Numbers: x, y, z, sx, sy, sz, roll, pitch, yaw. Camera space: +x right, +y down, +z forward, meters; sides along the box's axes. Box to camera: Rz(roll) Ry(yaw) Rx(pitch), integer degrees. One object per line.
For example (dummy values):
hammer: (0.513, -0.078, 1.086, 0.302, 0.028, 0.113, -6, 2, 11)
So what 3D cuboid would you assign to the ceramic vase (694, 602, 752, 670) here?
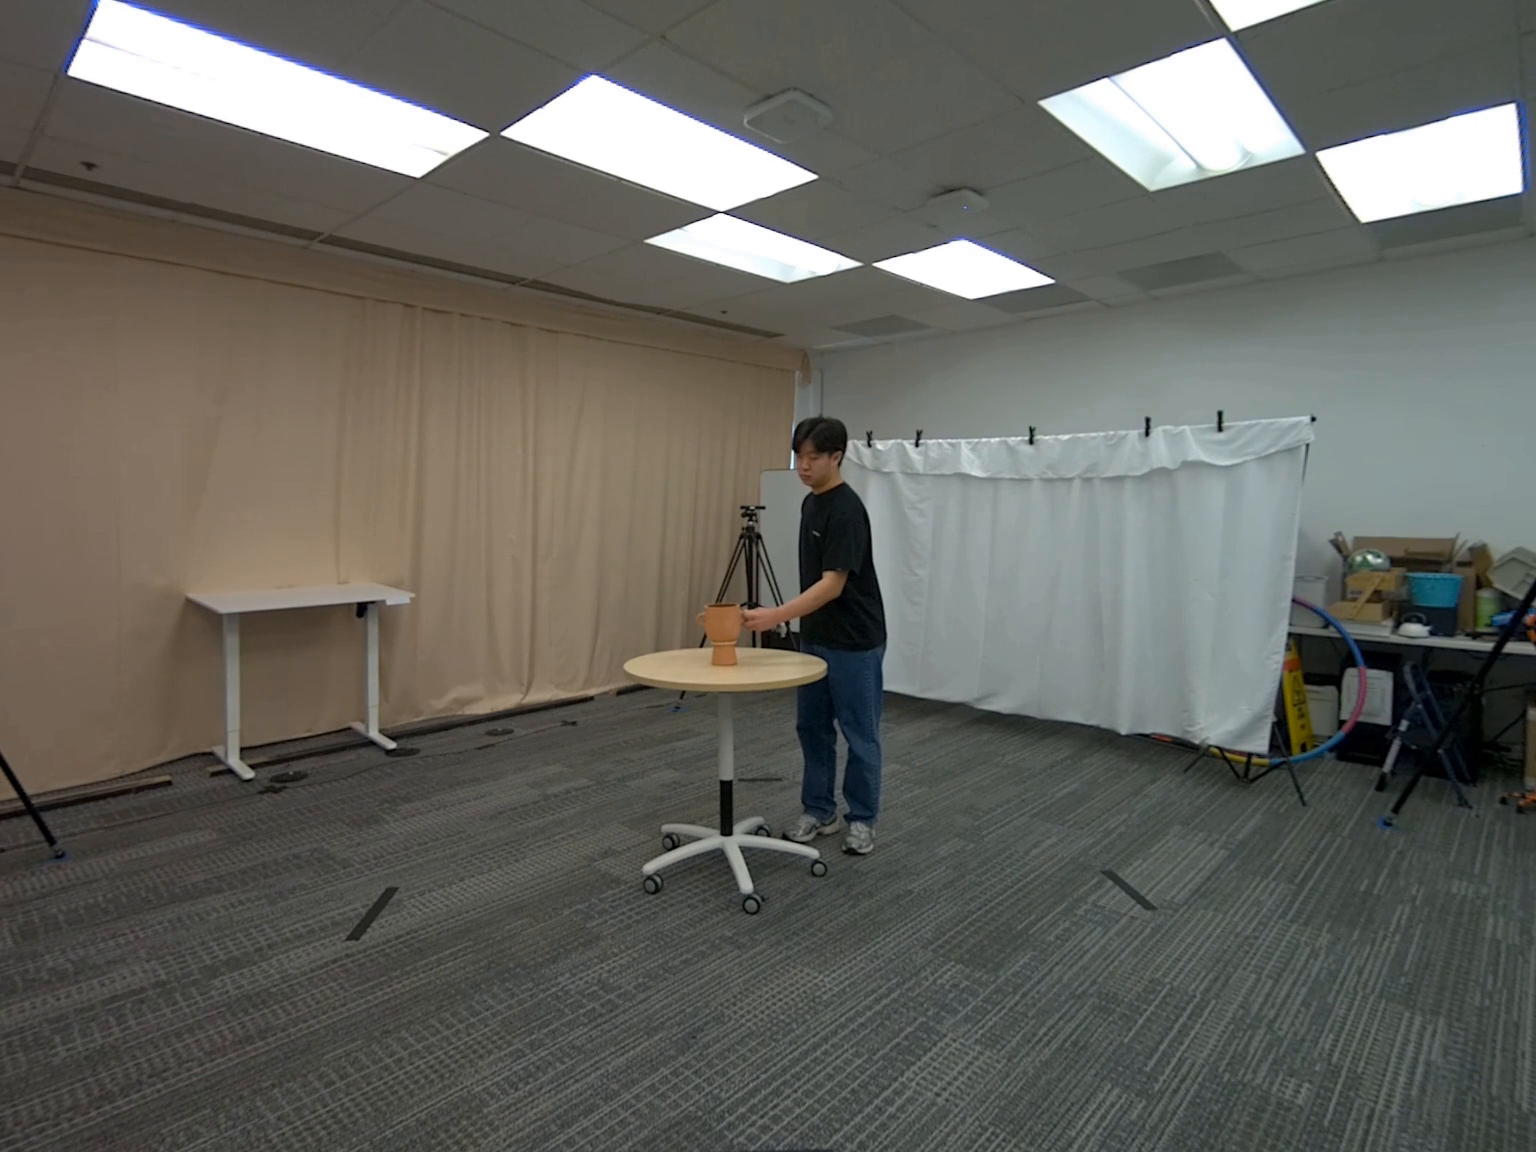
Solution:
ceramic vase: (-0.169, 0.220, 3.165, 0.163, 0.219, 0.131, 1, 5, 33)
